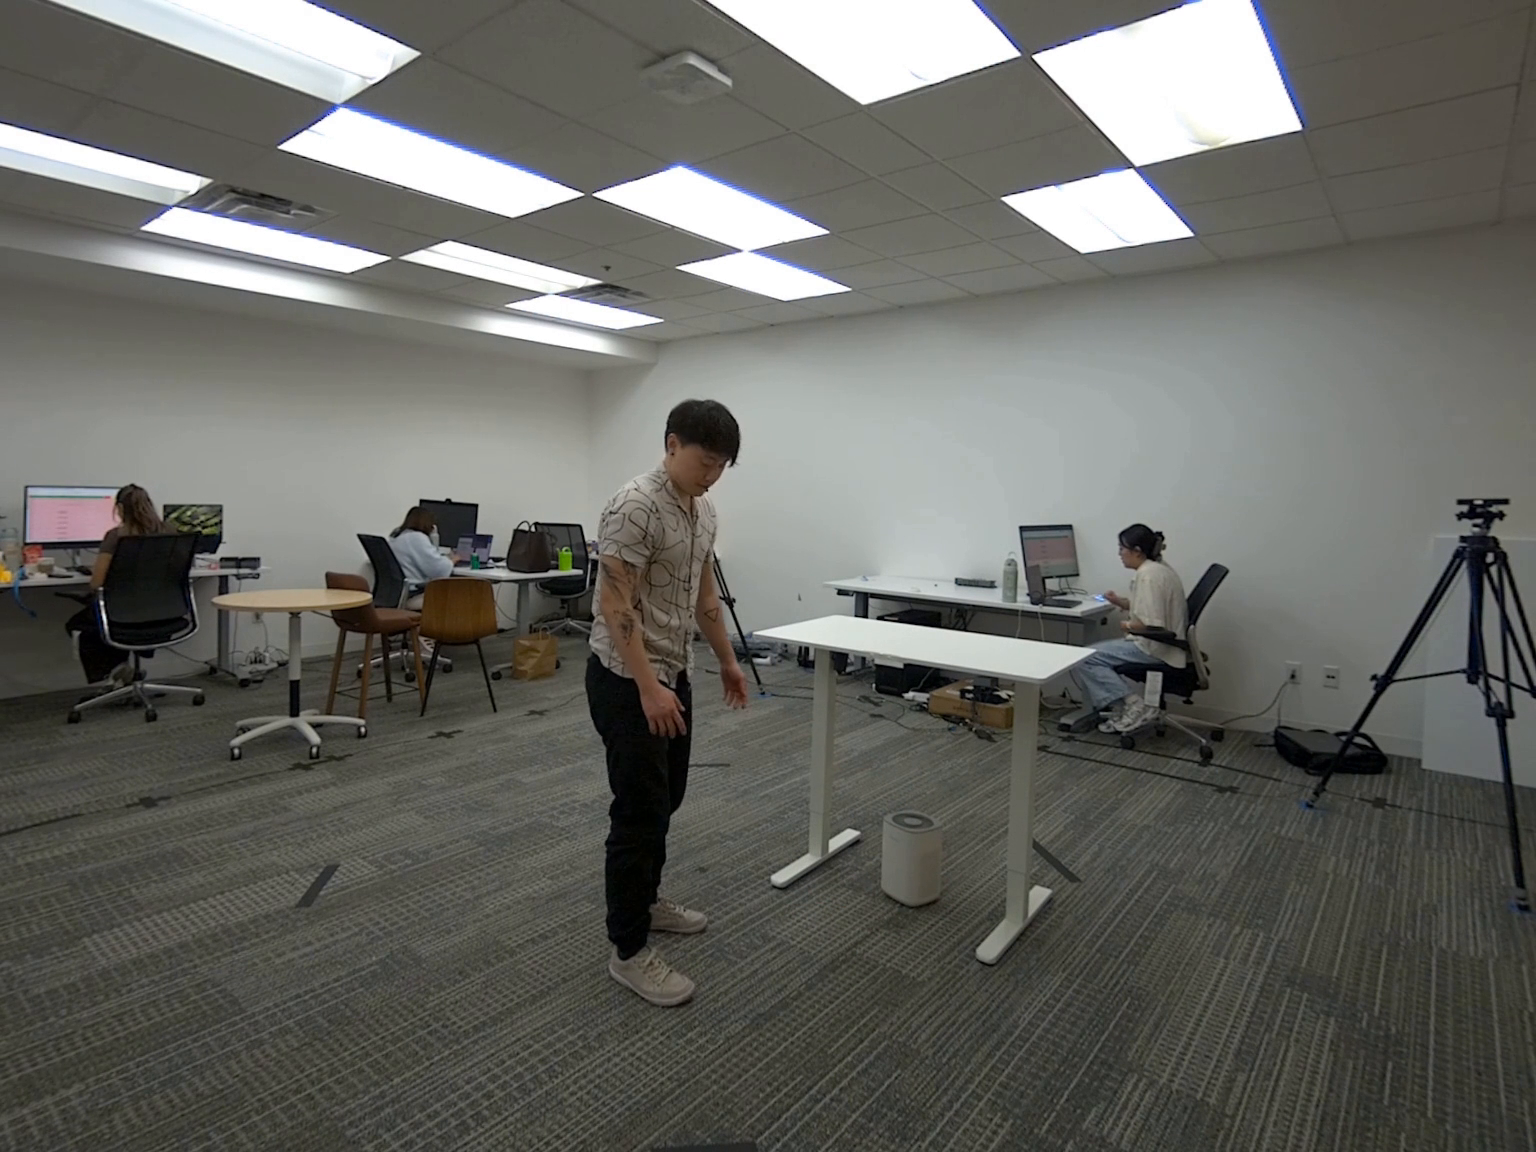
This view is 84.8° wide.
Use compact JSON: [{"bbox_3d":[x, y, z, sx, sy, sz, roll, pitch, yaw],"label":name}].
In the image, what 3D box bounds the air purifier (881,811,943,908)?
[{"bbox_3d":[0.491,0.975,2.931,0.166,0.264,0.177,-2,5,-37],"label":"air purifier"}]
